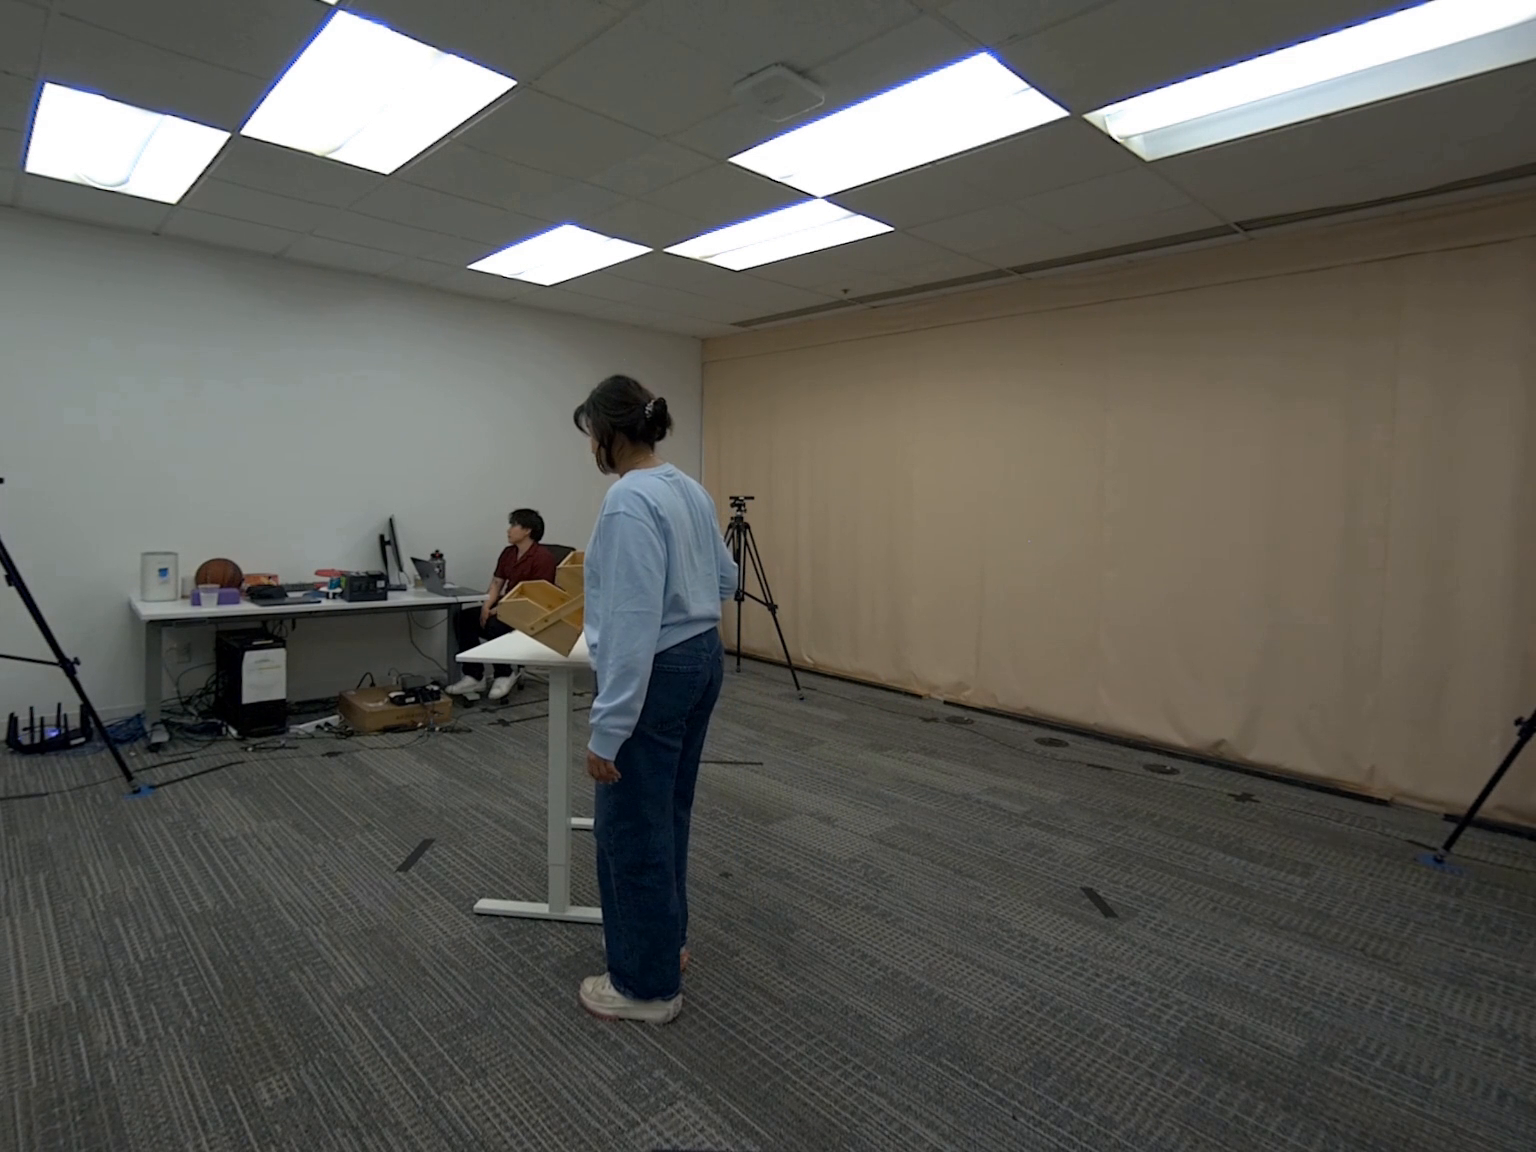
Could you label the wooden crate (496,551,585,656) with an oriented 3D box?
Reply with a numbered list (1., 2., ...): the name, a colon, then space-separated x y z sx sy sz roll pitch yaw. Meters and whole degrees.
1. wooden crate: -0.625 0.052 2.563 0.299 0.273 0.328 31 6 -9
